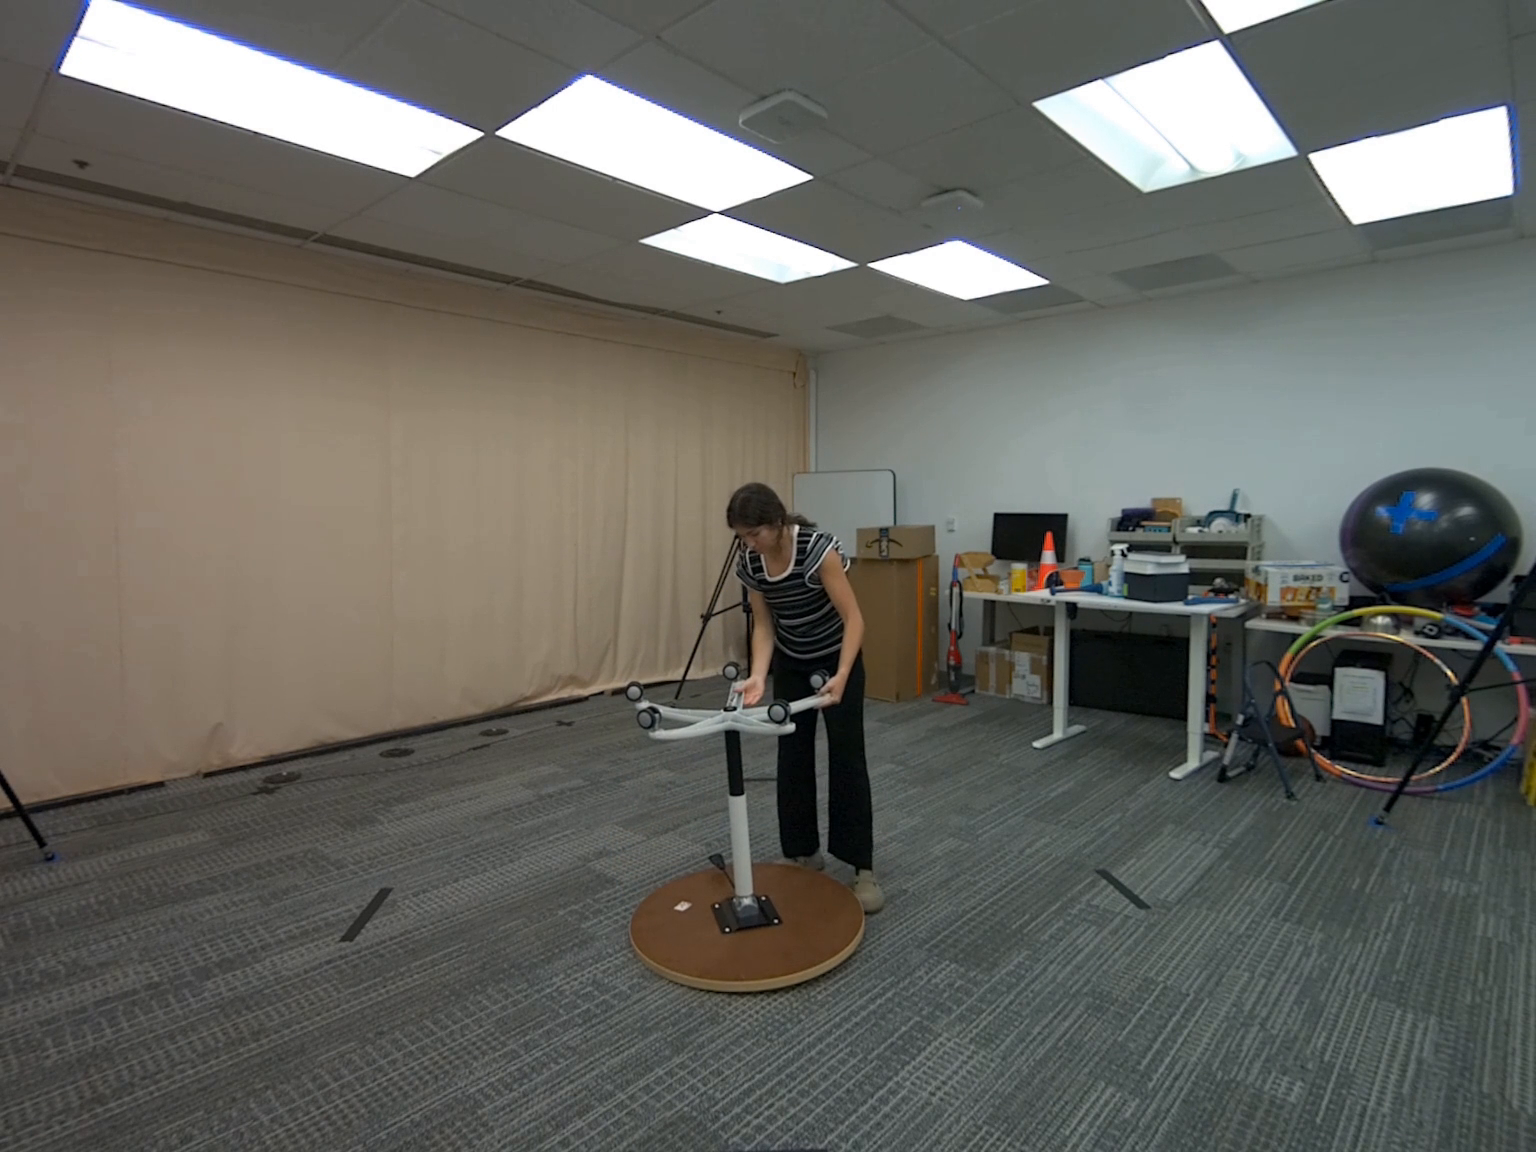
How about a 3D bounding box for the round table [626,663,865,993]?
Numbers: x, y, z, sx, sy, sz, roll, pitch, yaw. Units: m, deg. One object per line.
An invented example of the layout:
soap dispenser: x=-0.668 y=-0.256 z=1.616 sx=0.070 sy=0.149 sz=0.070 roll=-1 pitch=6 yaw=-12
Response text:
round table: x=-0.094 y=0.750 z=2.735 sx=0.763 sy=0.791 sz=0.767 roll=-4 pitch=5 yaw=-2
